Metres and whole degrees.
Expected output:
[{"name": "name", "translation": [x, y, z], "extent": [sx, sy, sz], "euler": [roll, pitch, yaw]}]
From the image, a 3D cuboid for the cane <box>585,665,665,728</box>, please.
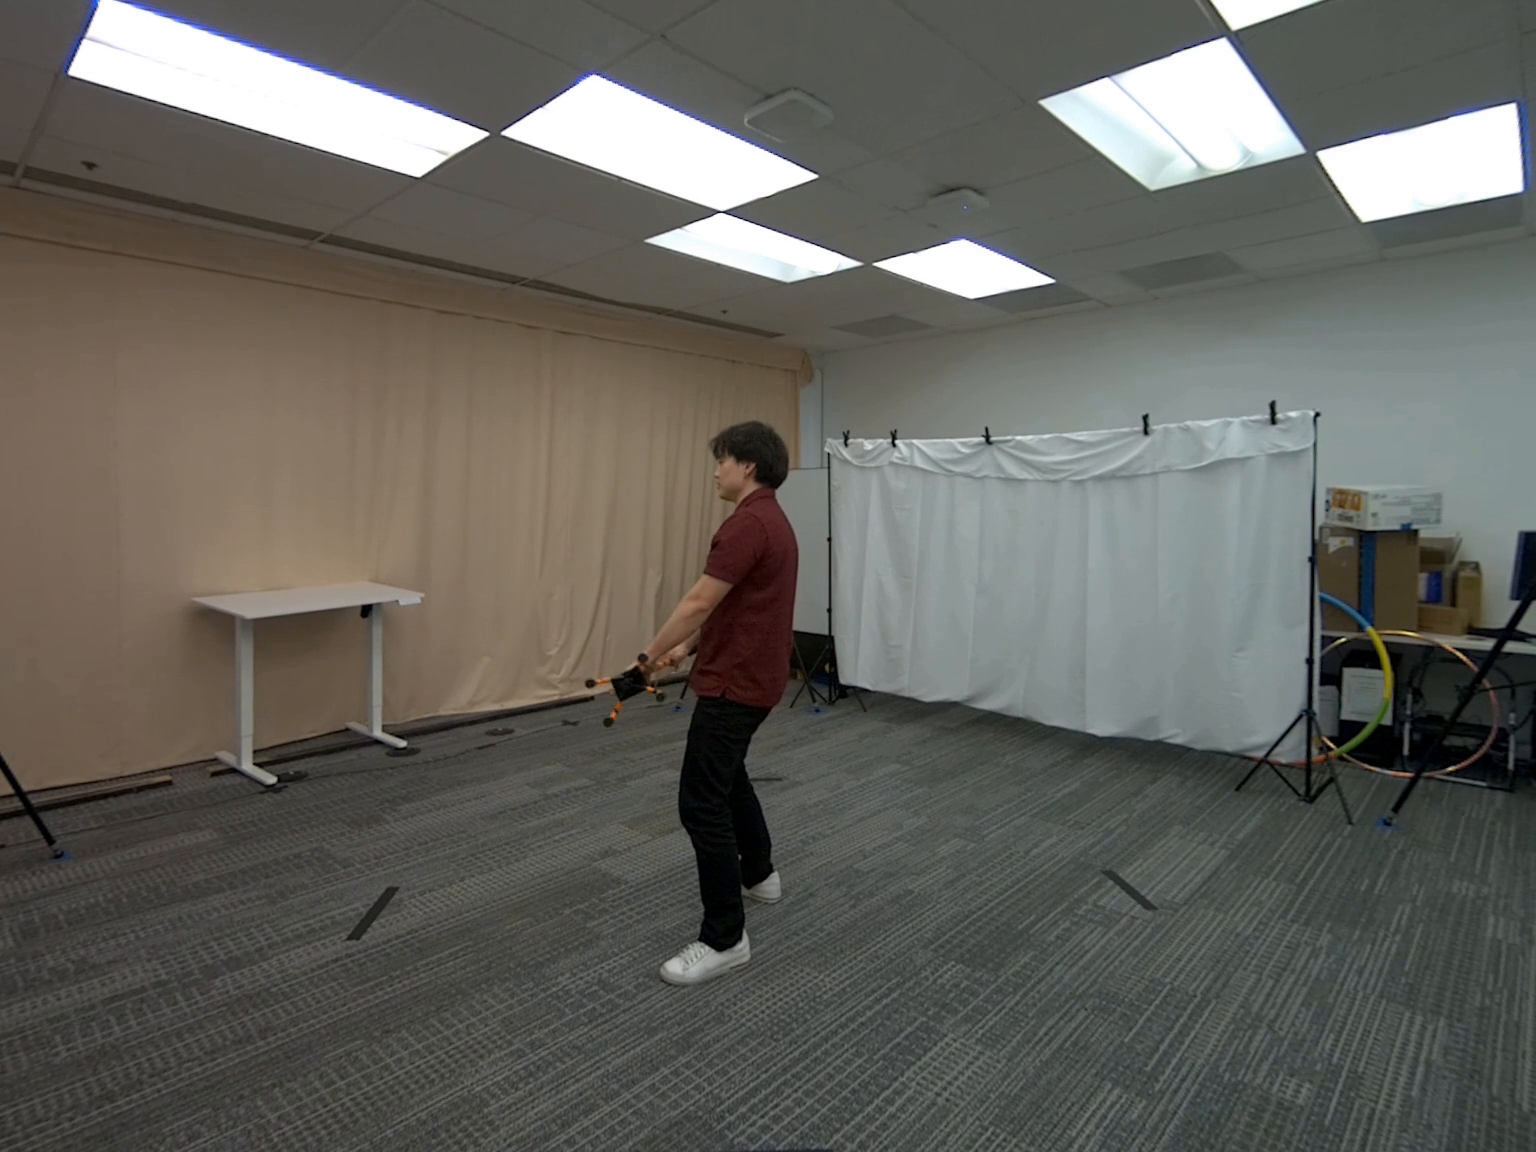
[{"name": "cane", "translation": [-0.380, 0.315, 2.882], "extent": [0.207, 0.152, 0.902], "euler": [-33, -1, 5]}]
